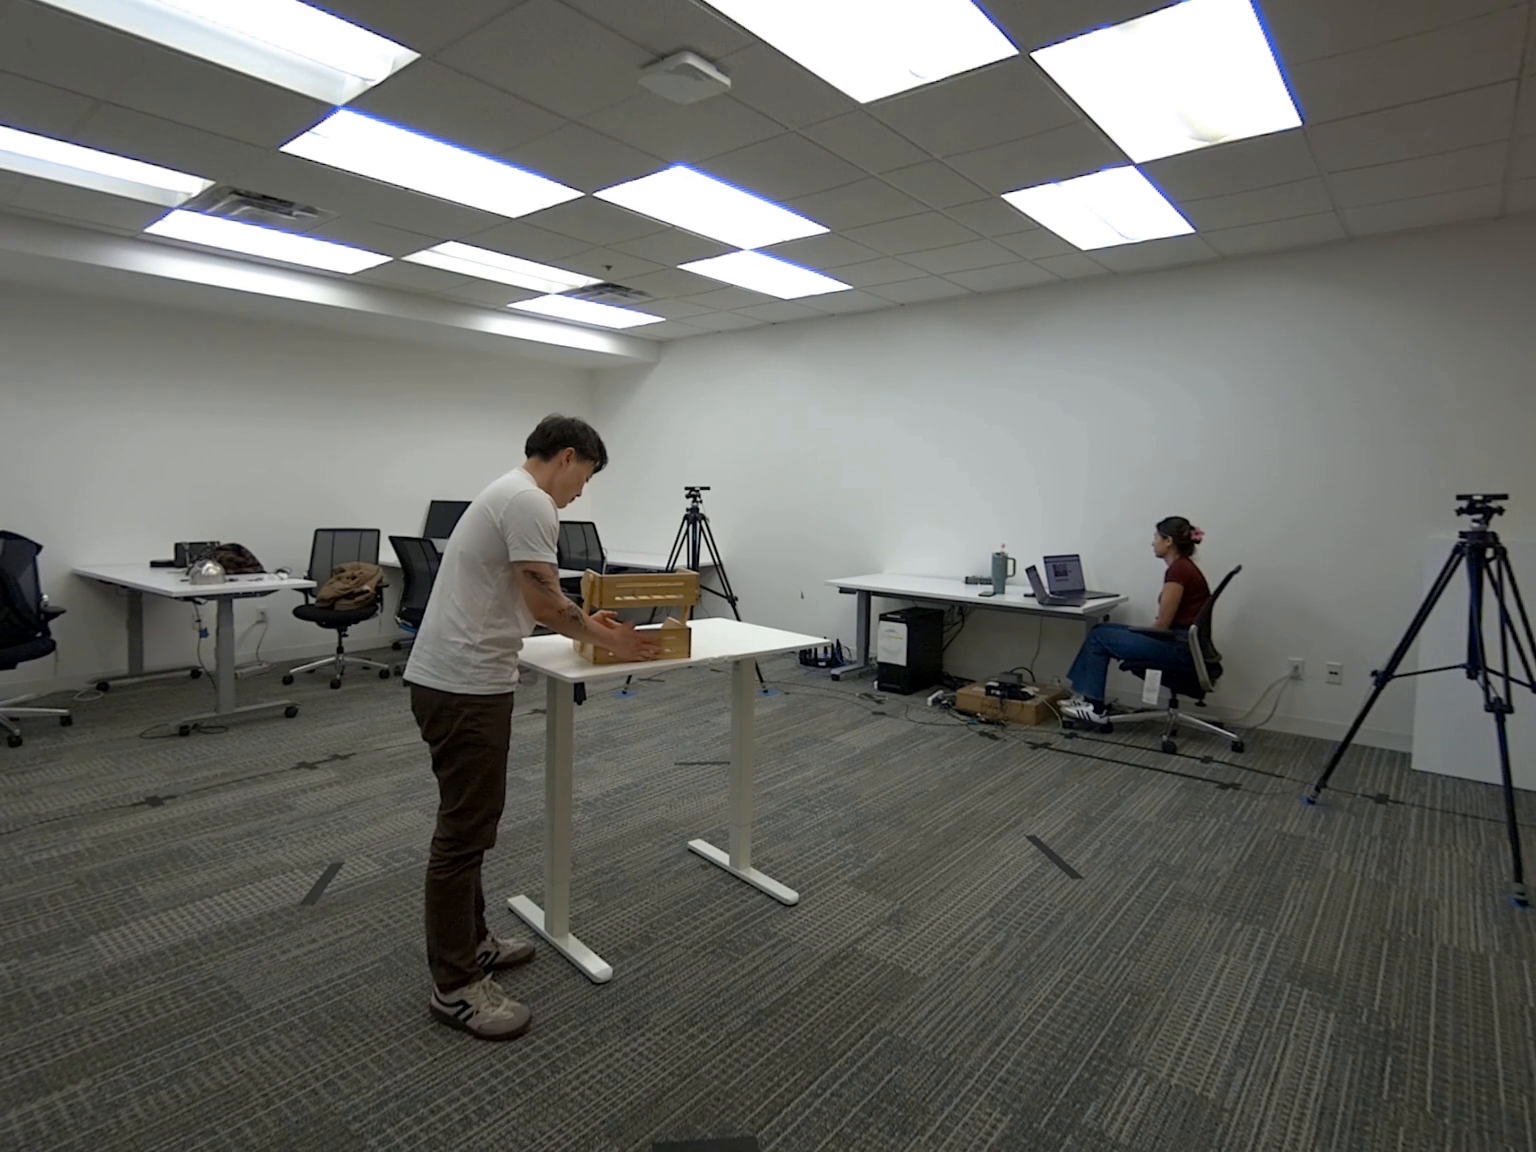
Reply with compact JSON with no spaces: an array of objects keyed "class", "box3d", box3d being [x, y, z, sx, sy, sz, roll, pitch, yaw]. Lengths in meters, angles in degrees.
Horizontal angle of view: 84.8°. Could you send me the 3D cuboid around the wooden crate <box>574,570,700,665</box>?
[{"class":"wooden crate","box3d":[-0.422,0.104,2.558,0.317,0.272,0.311,-2,6,-26]}]
